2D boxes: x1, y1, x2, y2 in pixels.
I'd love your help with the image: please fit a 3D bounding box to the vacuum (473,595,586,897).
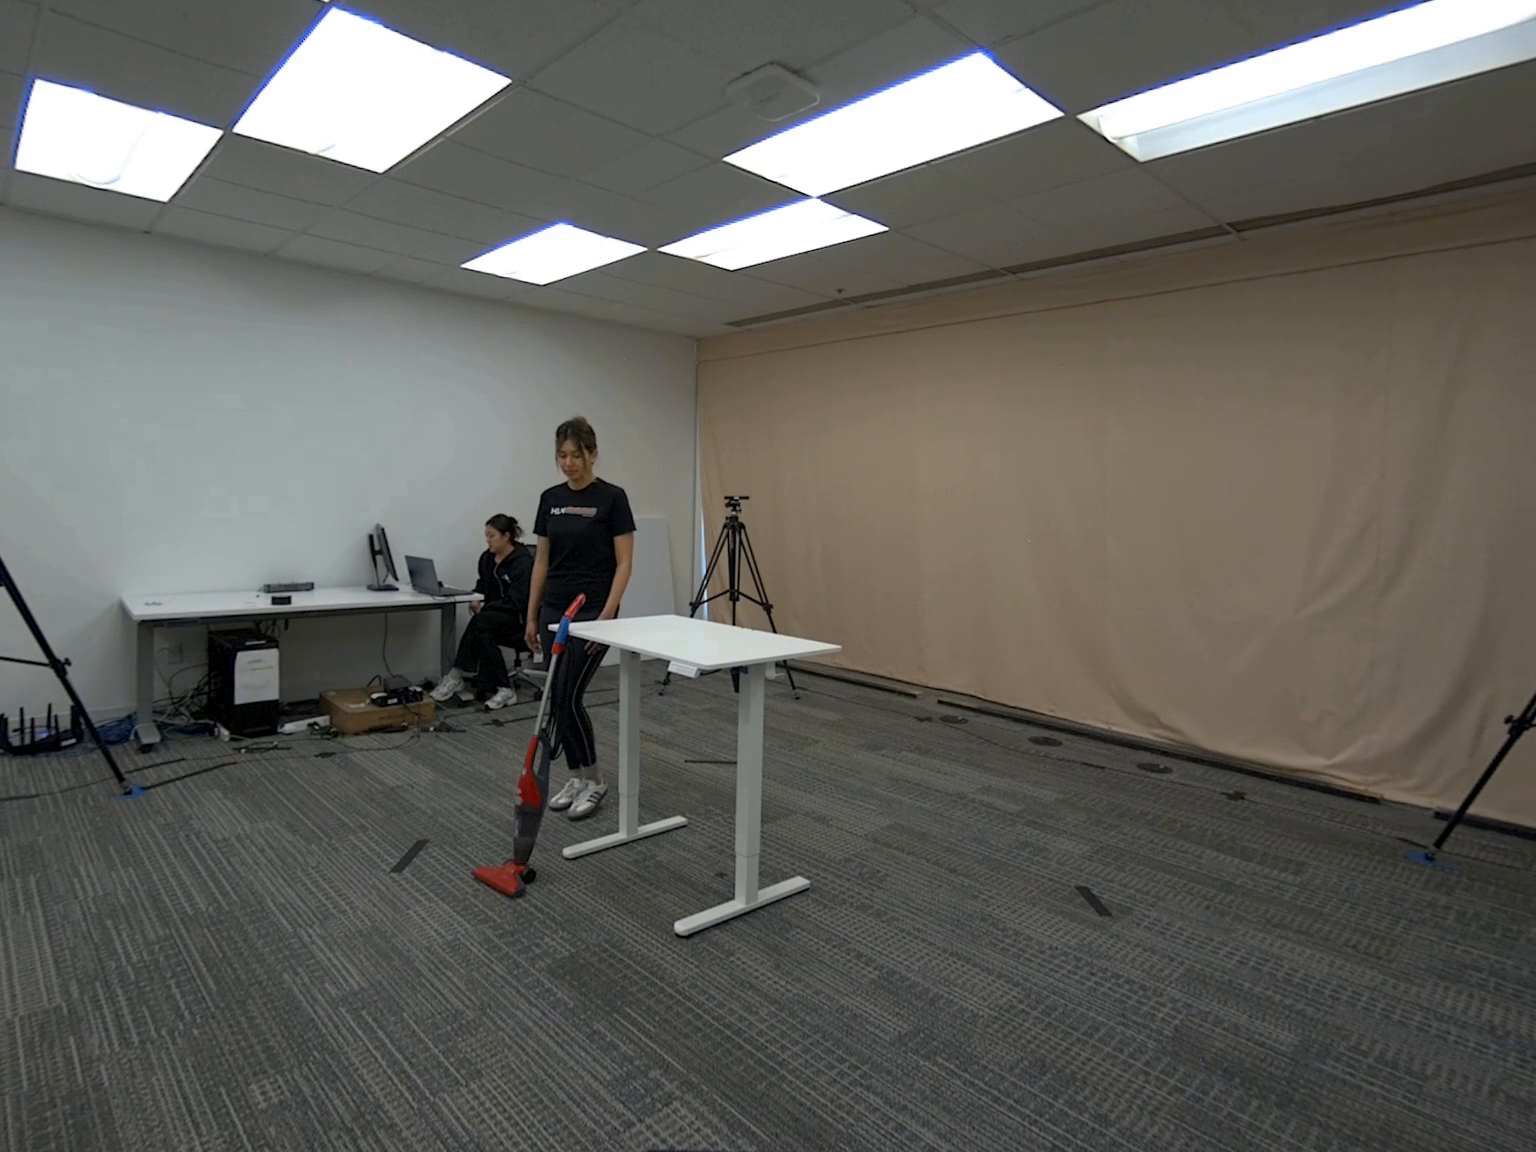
[{"bbox_3d":[-0.837,0.591,3.101,0.259,1.056,0.139,4,-14,38],"label":"vacuum"}]
